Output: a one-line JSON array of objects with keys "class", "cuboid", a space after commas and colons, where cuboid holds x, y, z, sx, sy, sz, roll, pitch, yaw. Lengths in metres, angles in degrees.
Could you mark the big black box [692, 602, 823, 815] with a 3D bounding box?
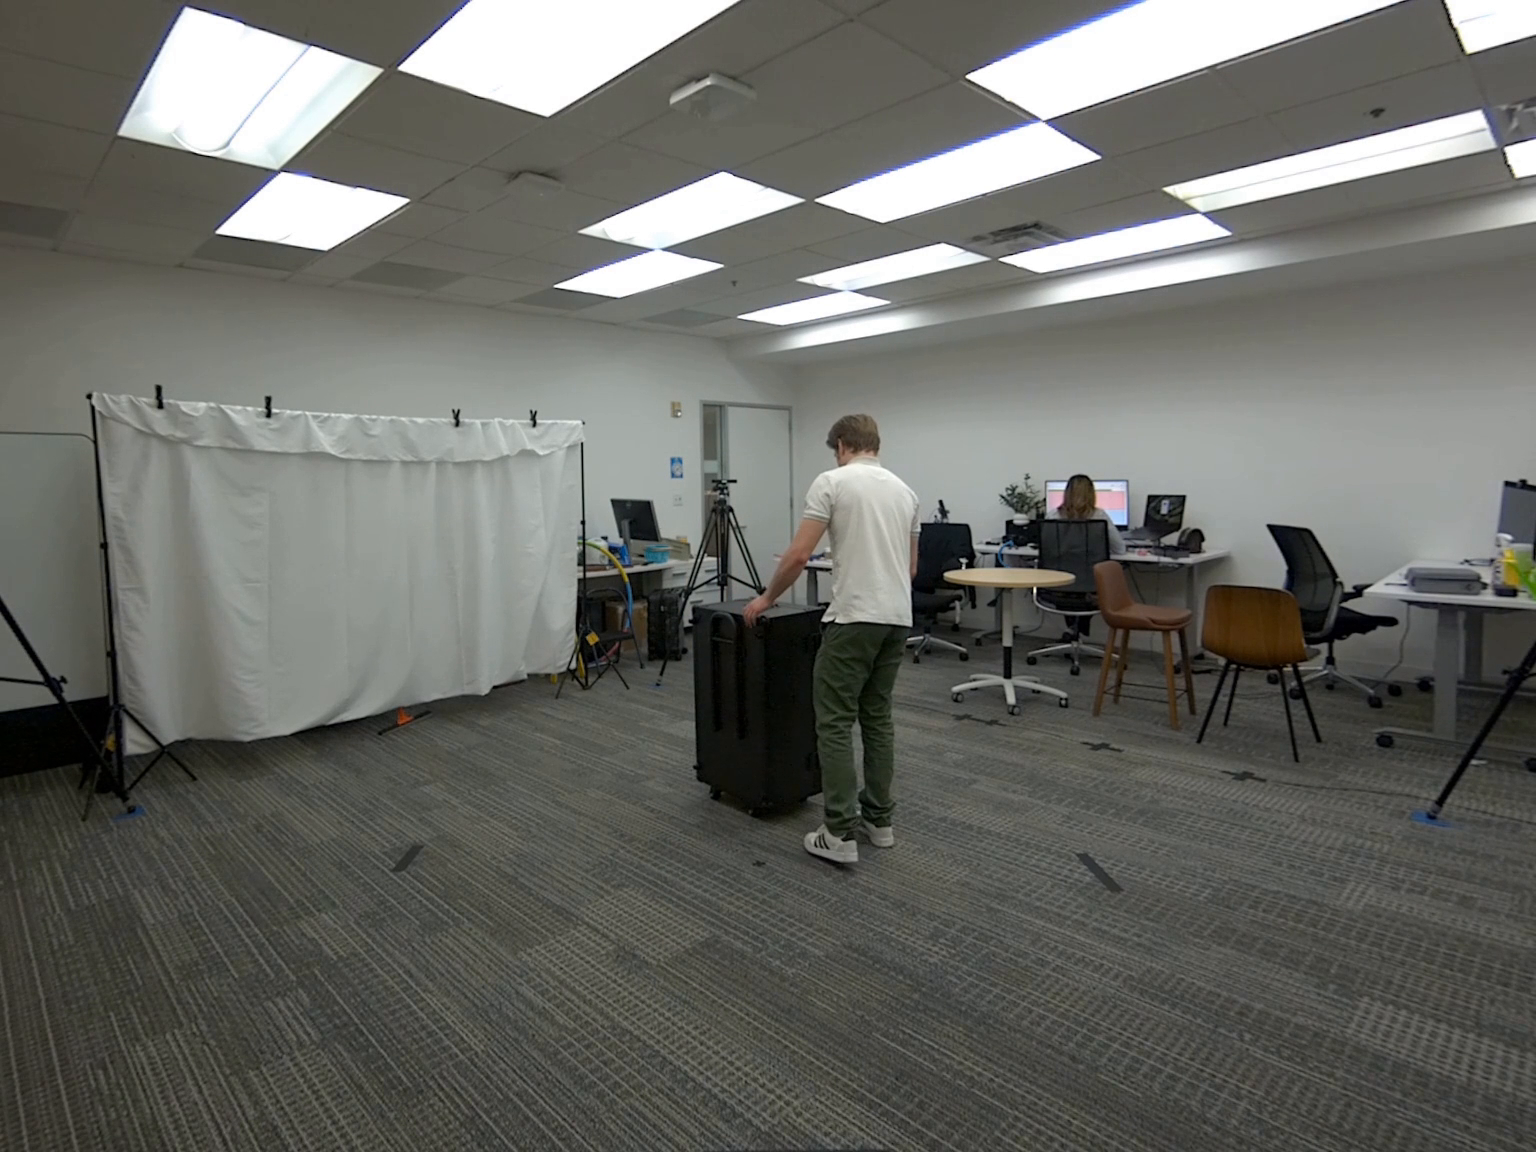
[{"class": "big black box", "cuboid": [-0.045, 0.561, 3.693, 0.386, 0.858, 0.537, -5, 6, -39]}]
